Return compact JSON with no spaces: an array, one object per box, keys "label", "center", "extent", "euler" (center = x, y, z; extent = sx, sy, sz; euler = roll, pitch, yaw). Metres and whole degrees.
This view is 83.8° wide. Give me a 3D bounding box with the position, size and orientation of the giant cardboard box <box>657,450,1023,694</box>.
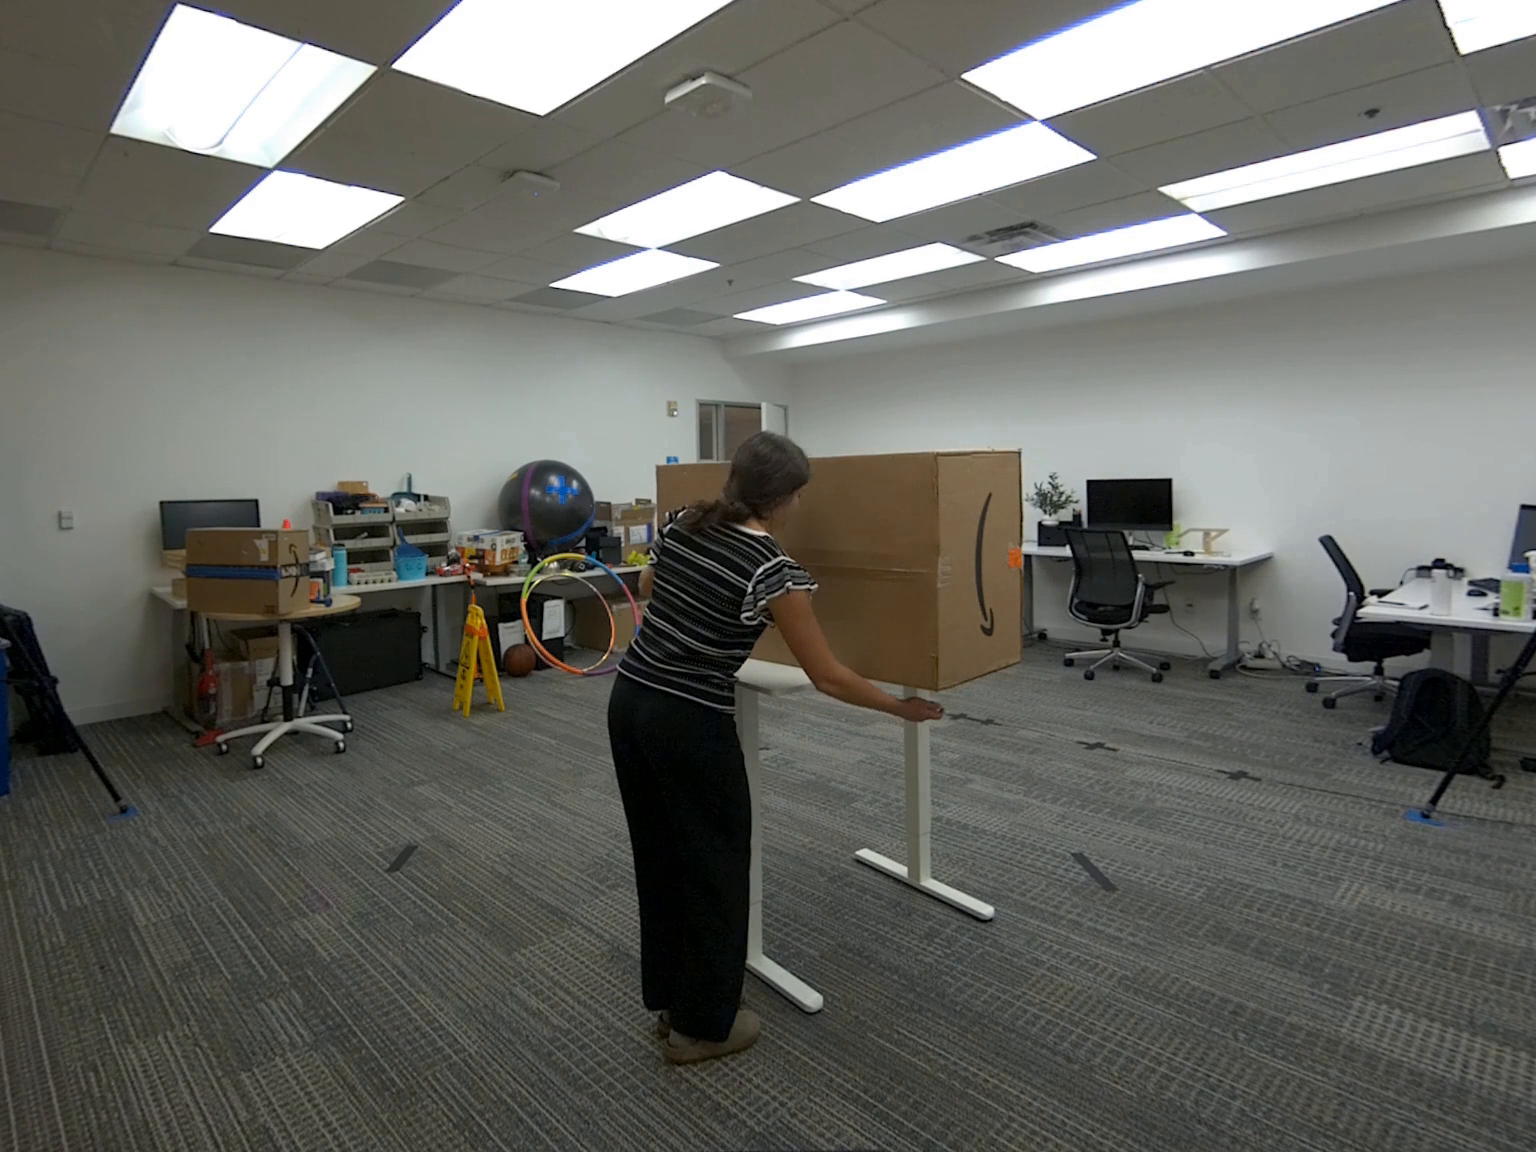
[{"label":"giant cardboard box","center":[0.169,-0.062,2.520],"extent":[1.057,0.575,0.415],"euler":[4,7,44]}]
